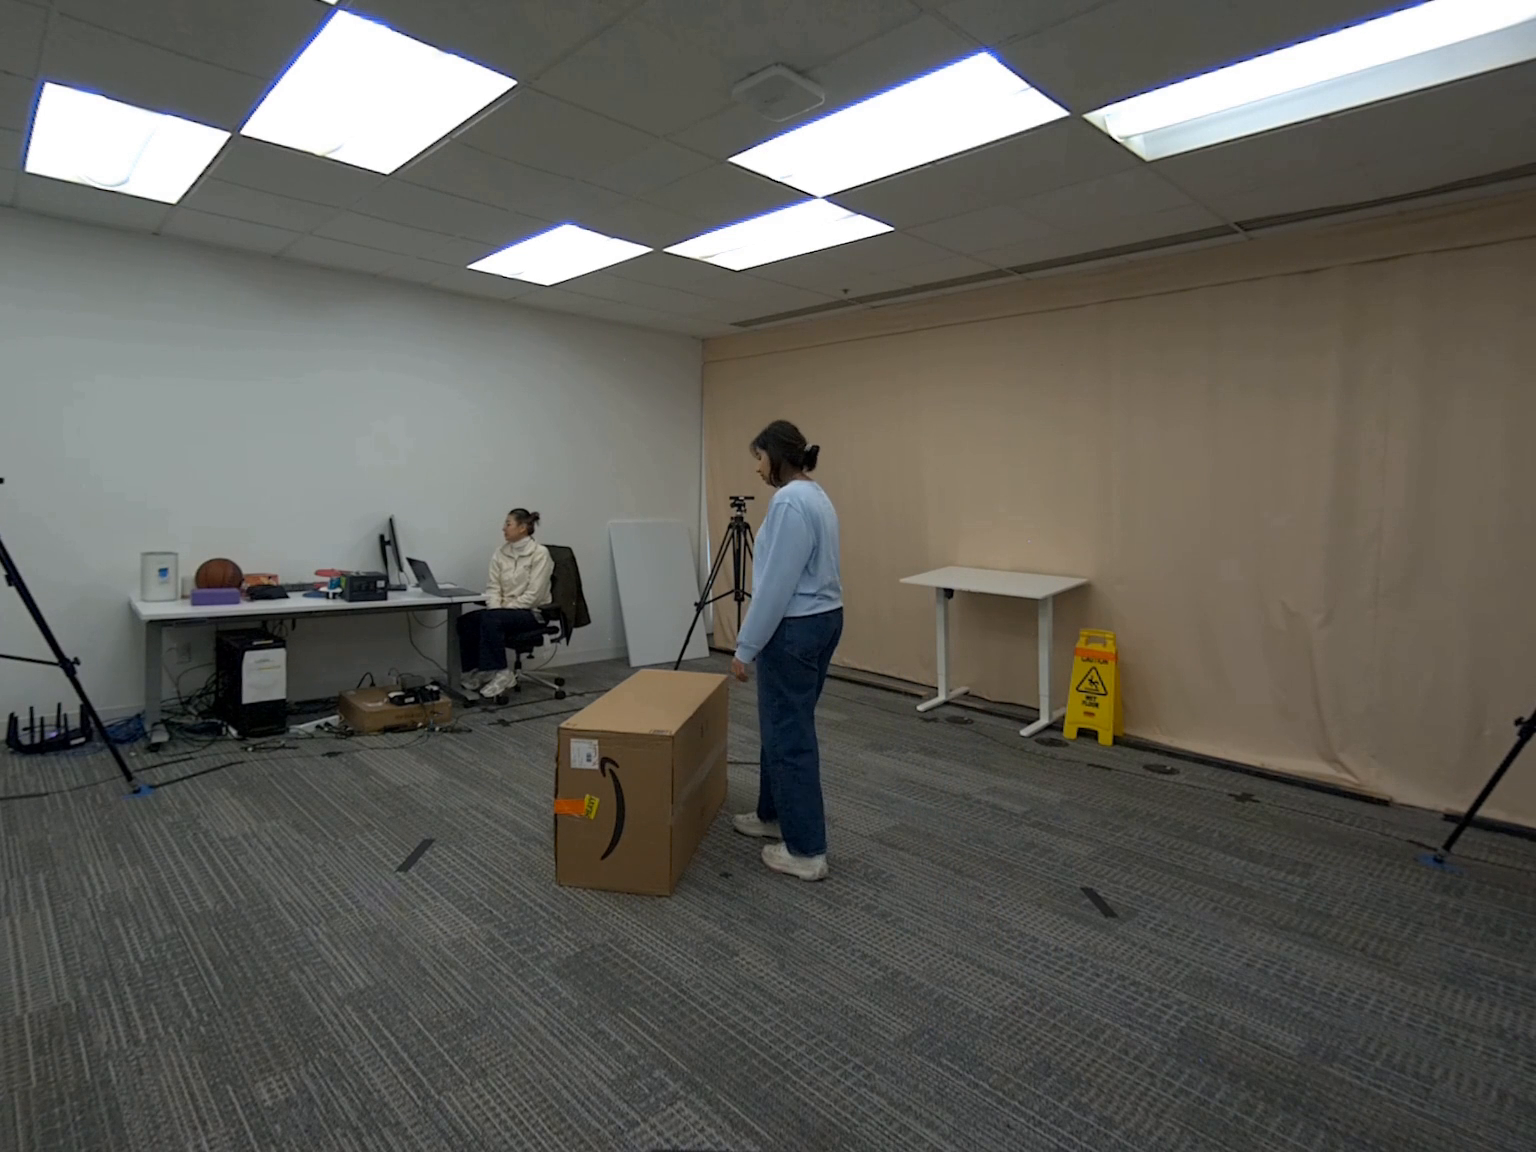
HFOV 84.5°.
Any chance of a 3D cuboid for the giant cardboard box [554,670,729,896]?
[{"bbox_3d":[-0.478,0.775,3.444,0.429,0.576,1.021,1,5,8],"label":"giant cardboard box"}]
